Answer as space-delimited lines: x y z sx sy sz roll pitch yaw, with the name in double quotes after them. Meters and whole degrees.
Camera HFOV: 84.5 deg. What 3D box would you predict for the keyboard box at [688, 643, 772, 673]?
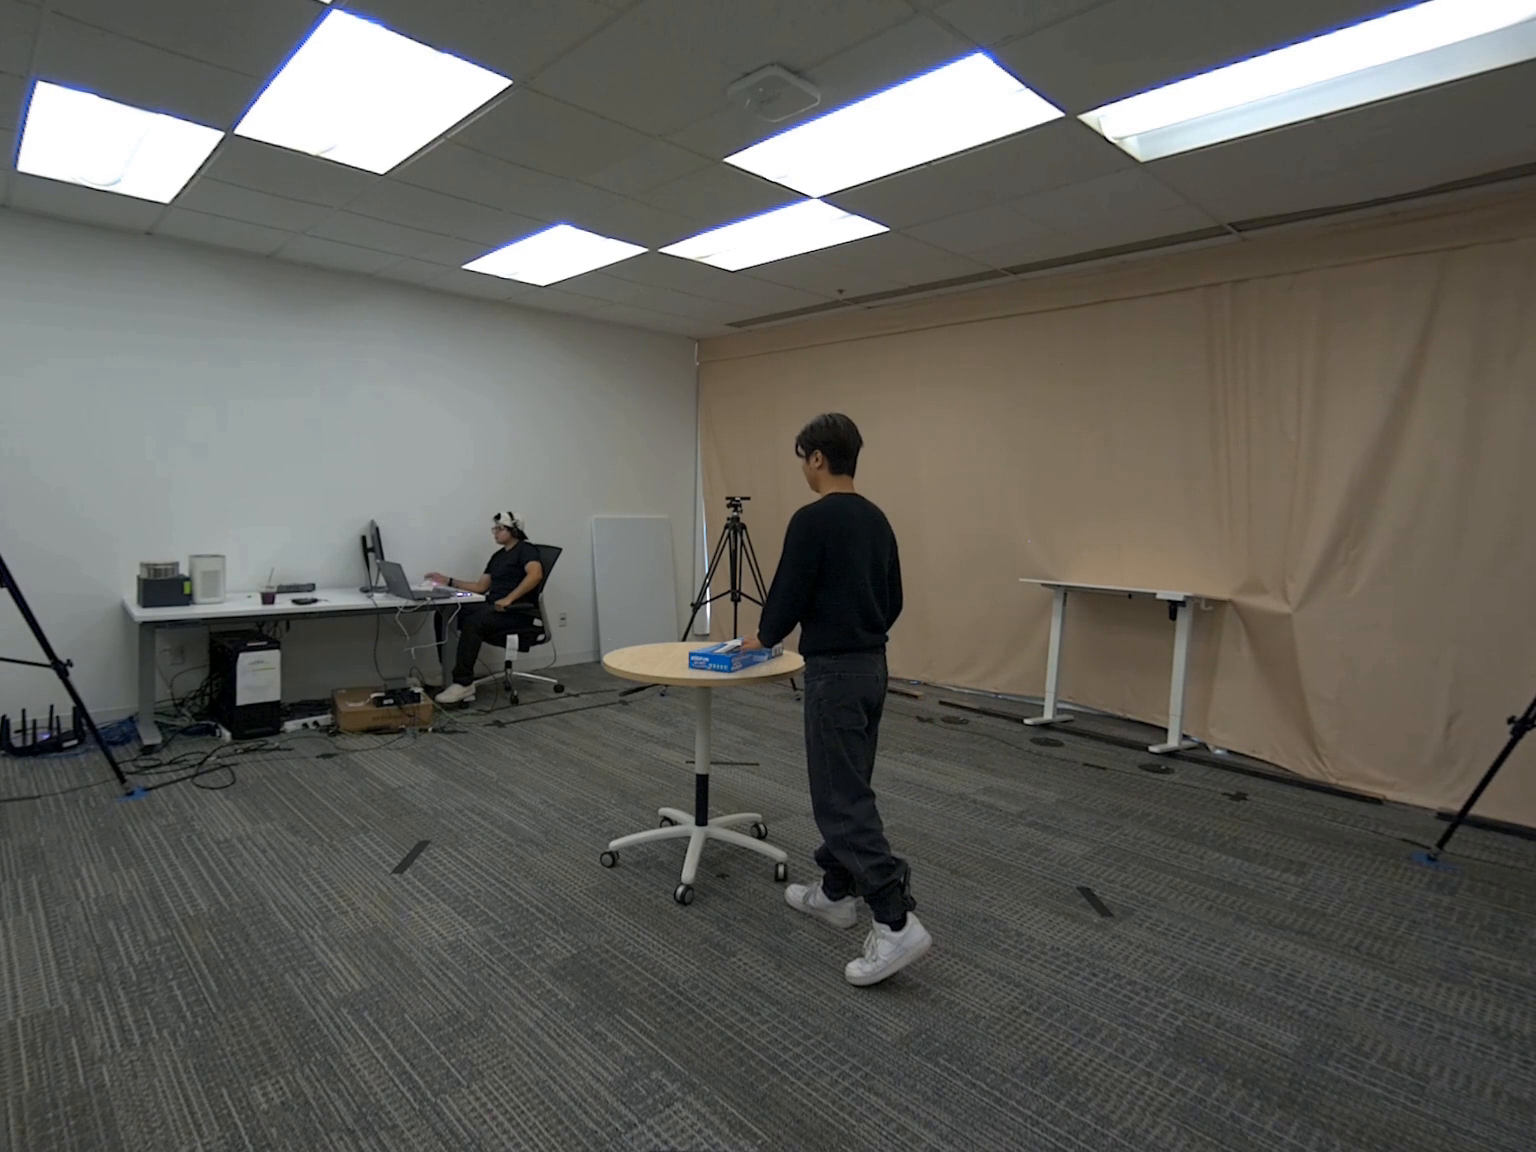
-0.123 0.287 3.149 0.179 0.059 0.429 4 6 26 "keyboard box"
